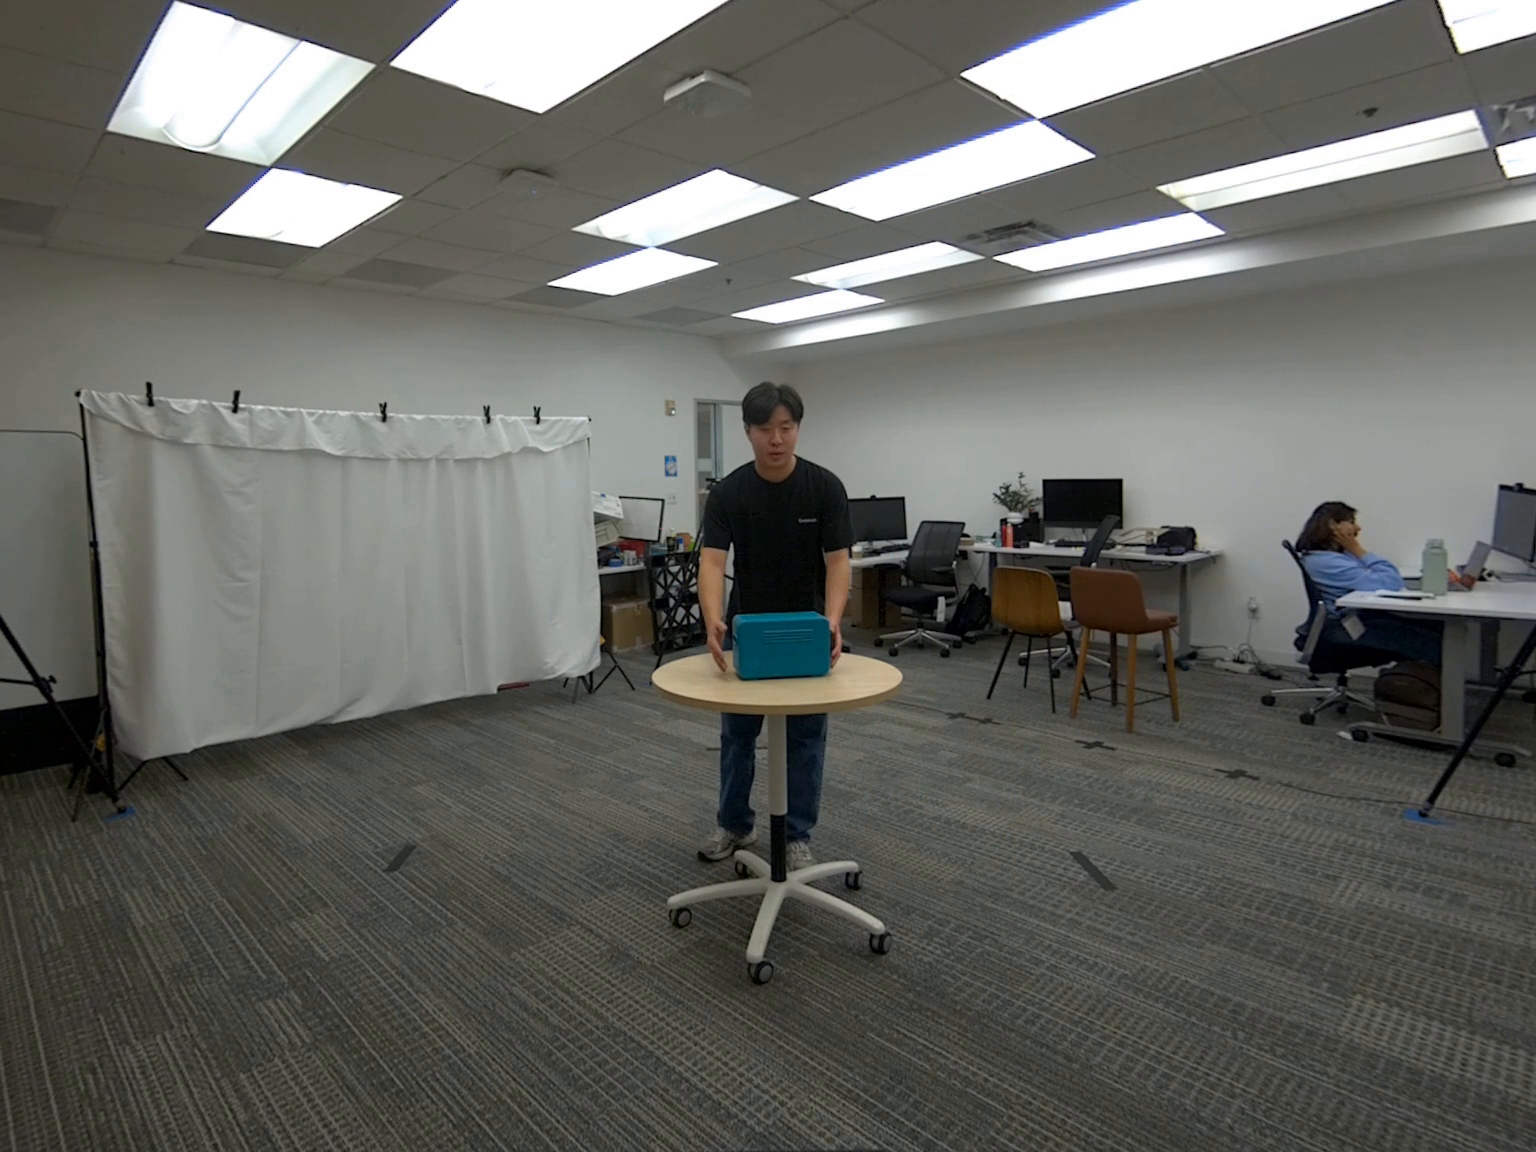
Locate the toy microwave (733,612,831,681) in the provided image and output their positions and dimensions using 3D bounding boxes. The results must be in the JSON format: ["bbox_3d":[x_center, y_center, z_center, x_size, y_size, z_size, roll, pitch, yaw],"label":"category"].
[{"bbox_3d":[0.034,0.216,2.614,0.284,0.183,0.154,-1,5,-9],"label":"toy microwave"}]
